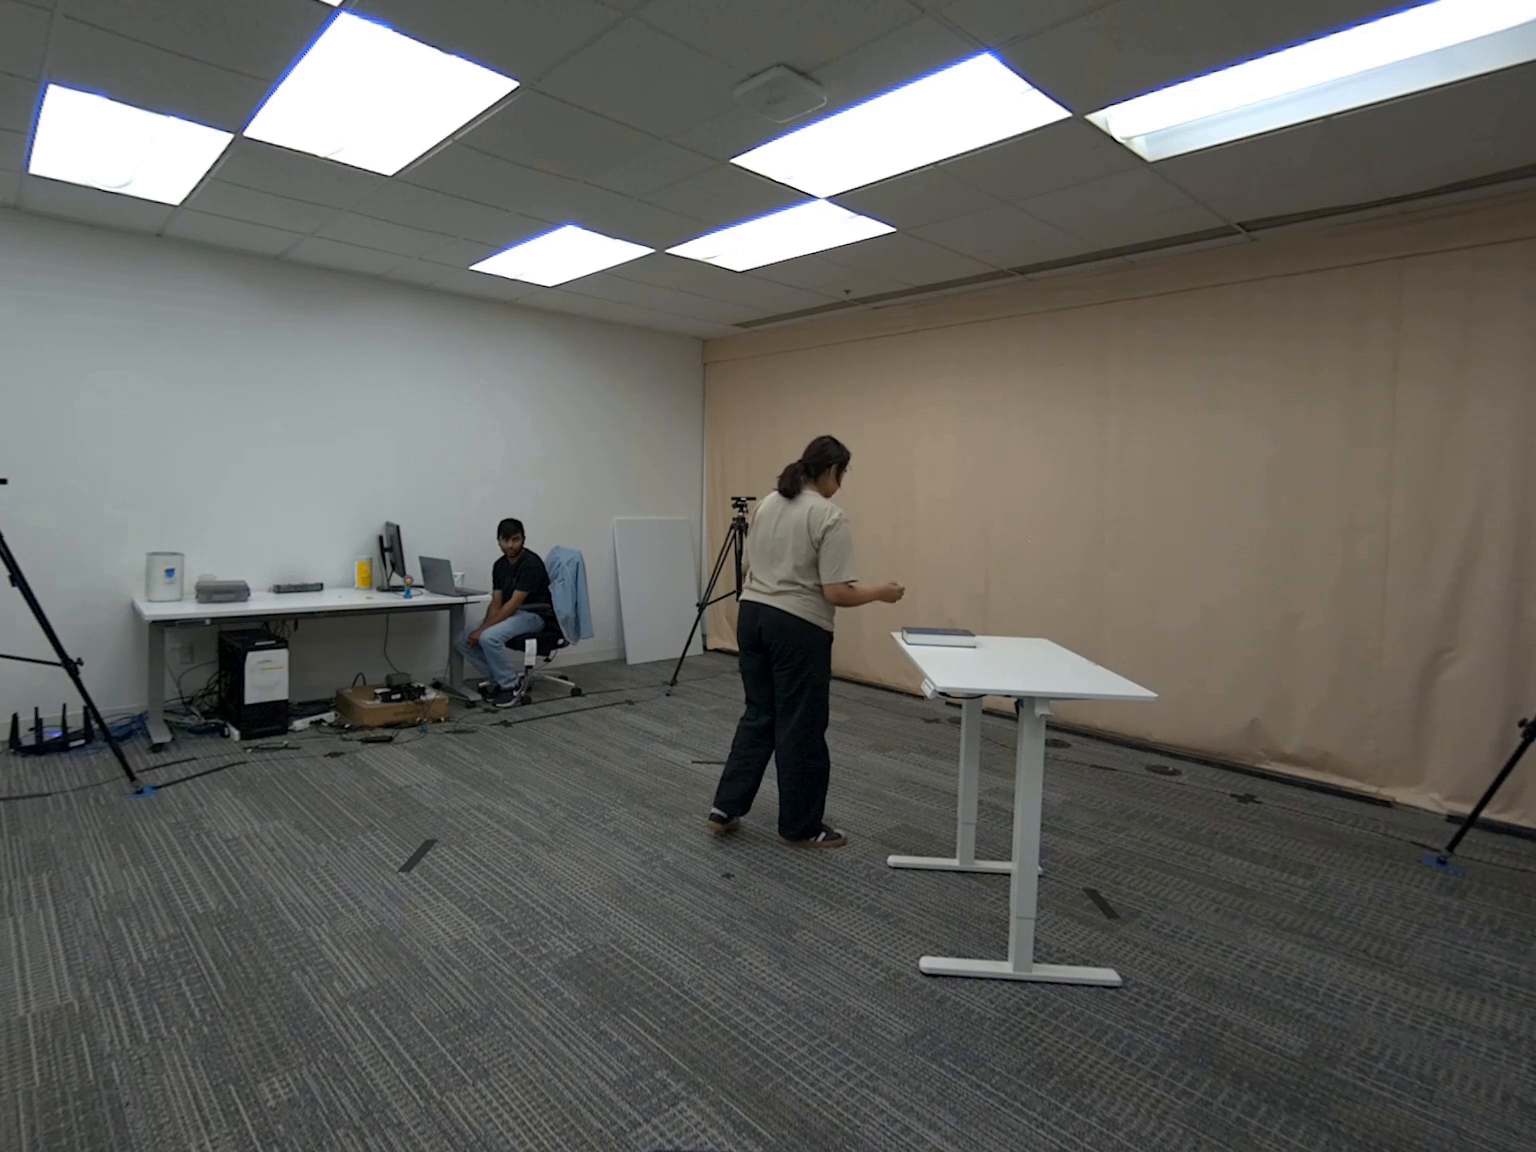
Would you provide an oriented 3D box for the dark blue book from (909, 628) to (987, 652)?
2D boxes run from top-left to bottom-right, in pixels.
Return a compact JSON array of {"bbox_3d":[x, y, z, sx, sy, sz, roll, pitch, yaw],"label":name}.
[{"bbox_3d":[0.650,0.229,3.081,0.246,0.045,0.163,2,5,3],"label":"dark blue book"}]
